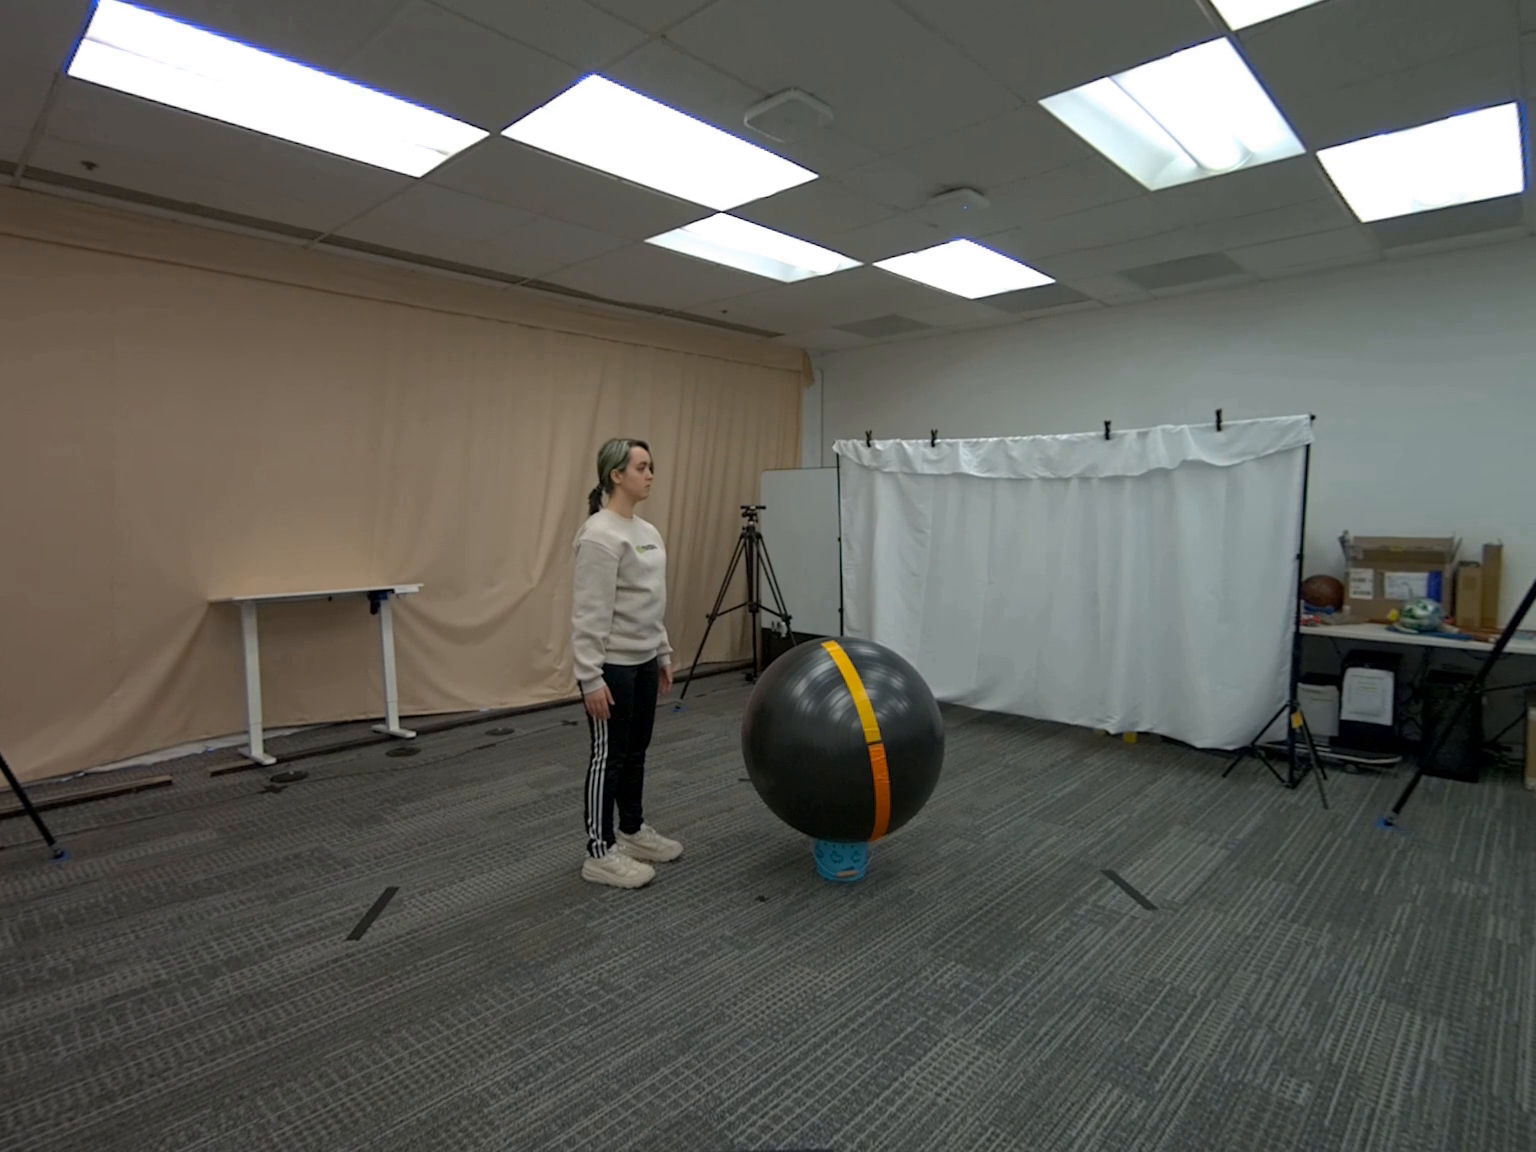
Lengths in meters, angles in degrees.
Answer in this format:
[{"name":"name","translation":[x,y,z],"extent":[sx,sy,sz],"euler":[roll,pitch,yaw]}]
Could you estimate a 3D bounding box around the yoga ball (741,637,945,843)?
[{"name":"yoga ball","translation":[0.282,0.615,3.182],"extent":[0.757,0.756,0.761],"euler":[0,4,-2]}]
